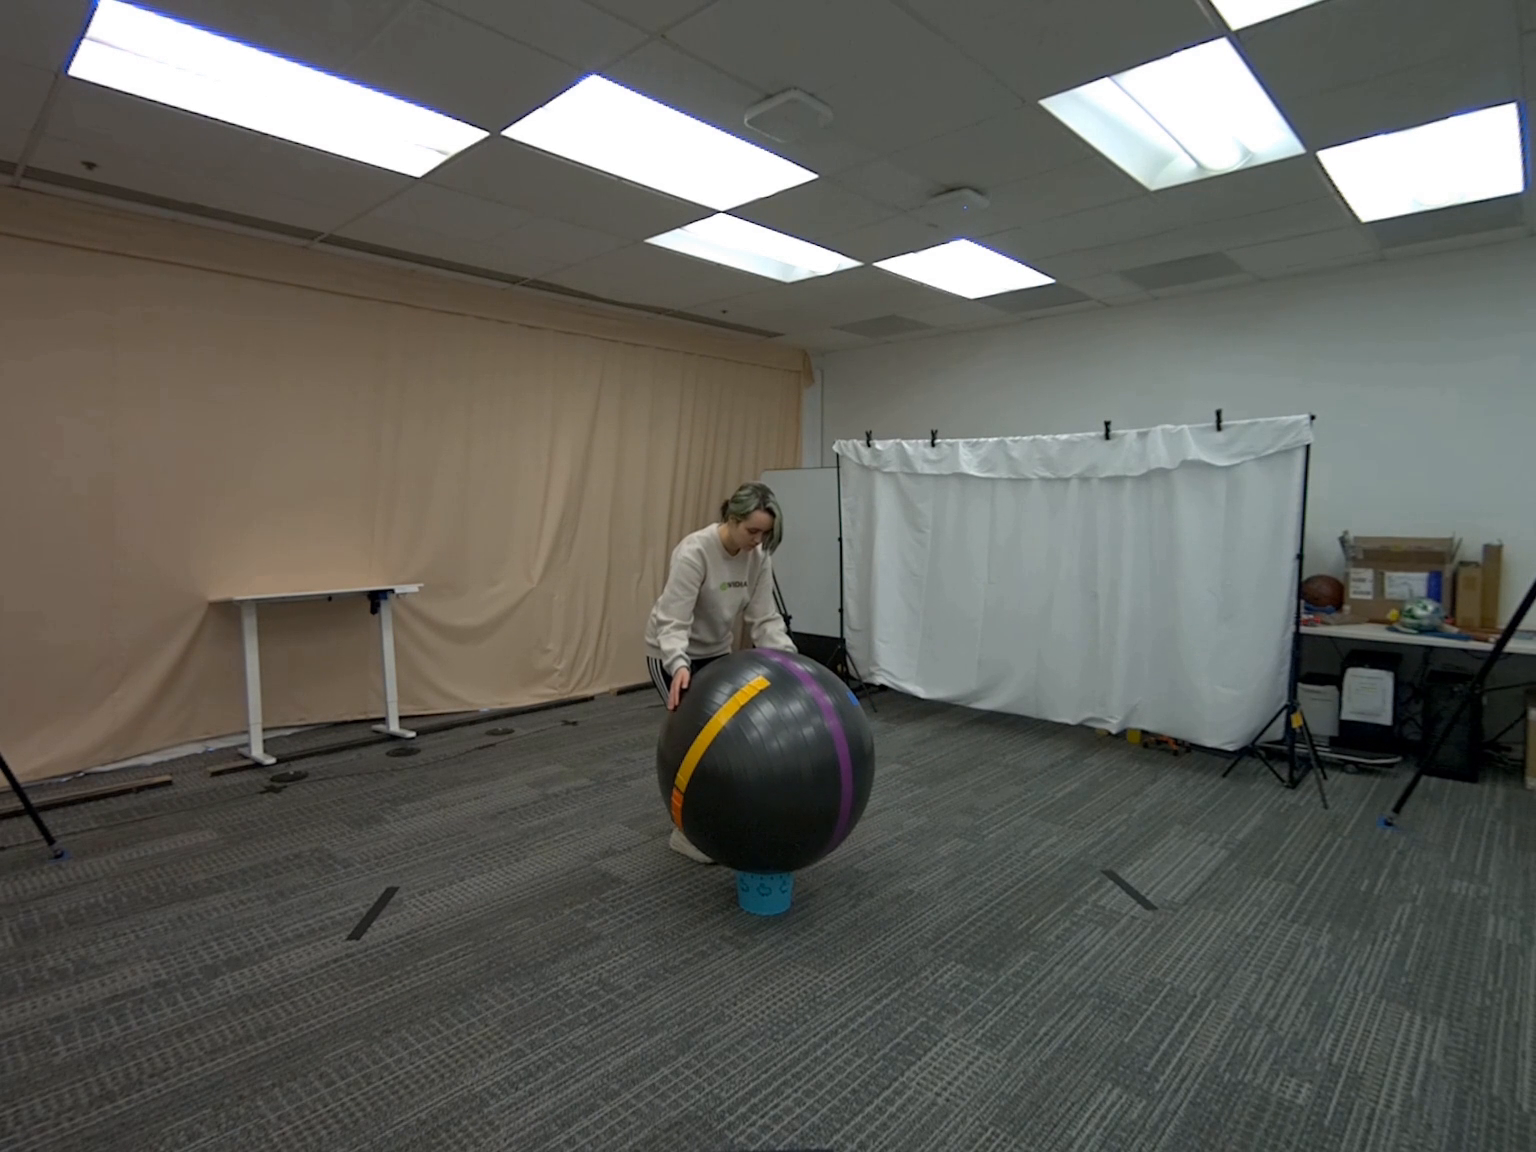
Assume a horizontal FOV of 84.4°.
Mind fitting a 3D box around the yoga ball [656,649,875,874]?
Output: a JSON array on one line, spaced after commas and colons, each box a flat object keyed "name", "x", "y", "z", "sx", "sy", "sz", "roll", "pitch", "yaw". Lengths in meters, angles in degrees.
[{"name": "yoga ball", "x": -0.009, "y": 0.639, "z": 2.926, "sx": 0.757, "sy": 0.756, "sz": 0.760, "roll": 0, "pitch": 4, "yaw": -2}]
